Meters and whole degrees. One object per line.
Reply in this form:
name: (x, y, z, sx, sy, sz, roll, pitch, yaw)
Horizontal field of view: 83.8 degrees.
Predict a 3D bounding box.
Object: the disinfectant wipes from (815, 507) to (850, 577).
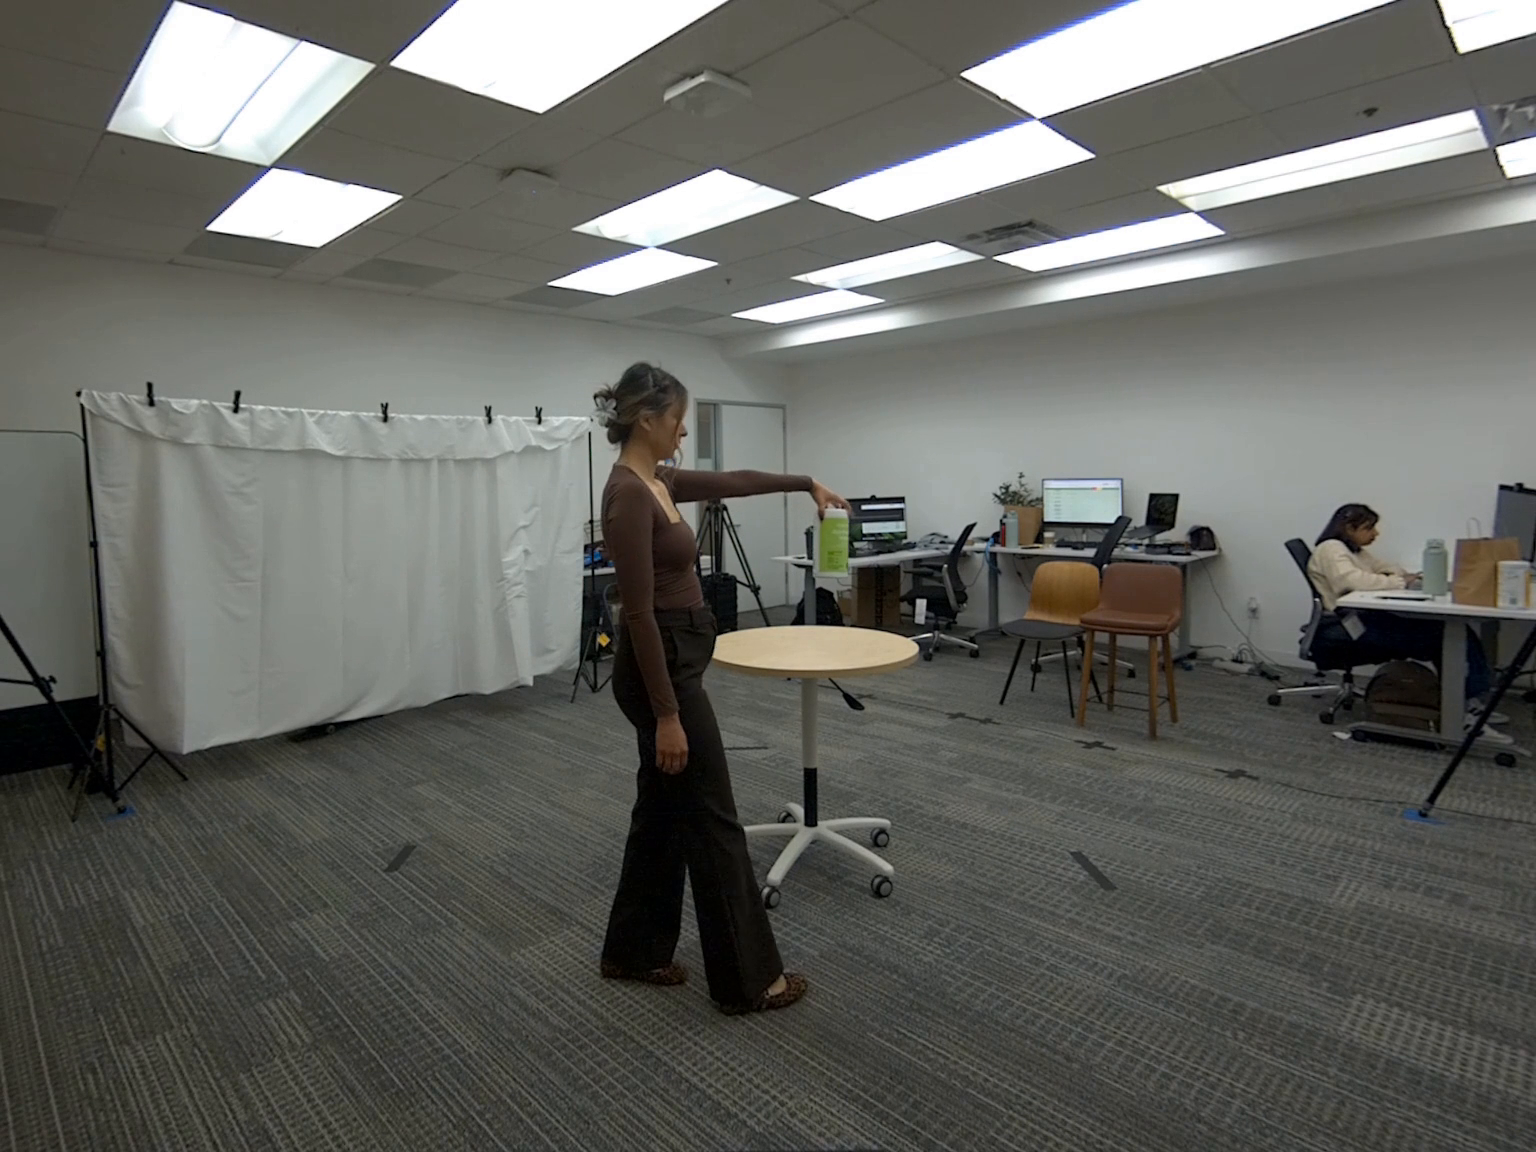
disinfectant wipes: (0.198, -0.100, 2.664, 0.118, 0.217, 0.118, 1, 1, -2)
